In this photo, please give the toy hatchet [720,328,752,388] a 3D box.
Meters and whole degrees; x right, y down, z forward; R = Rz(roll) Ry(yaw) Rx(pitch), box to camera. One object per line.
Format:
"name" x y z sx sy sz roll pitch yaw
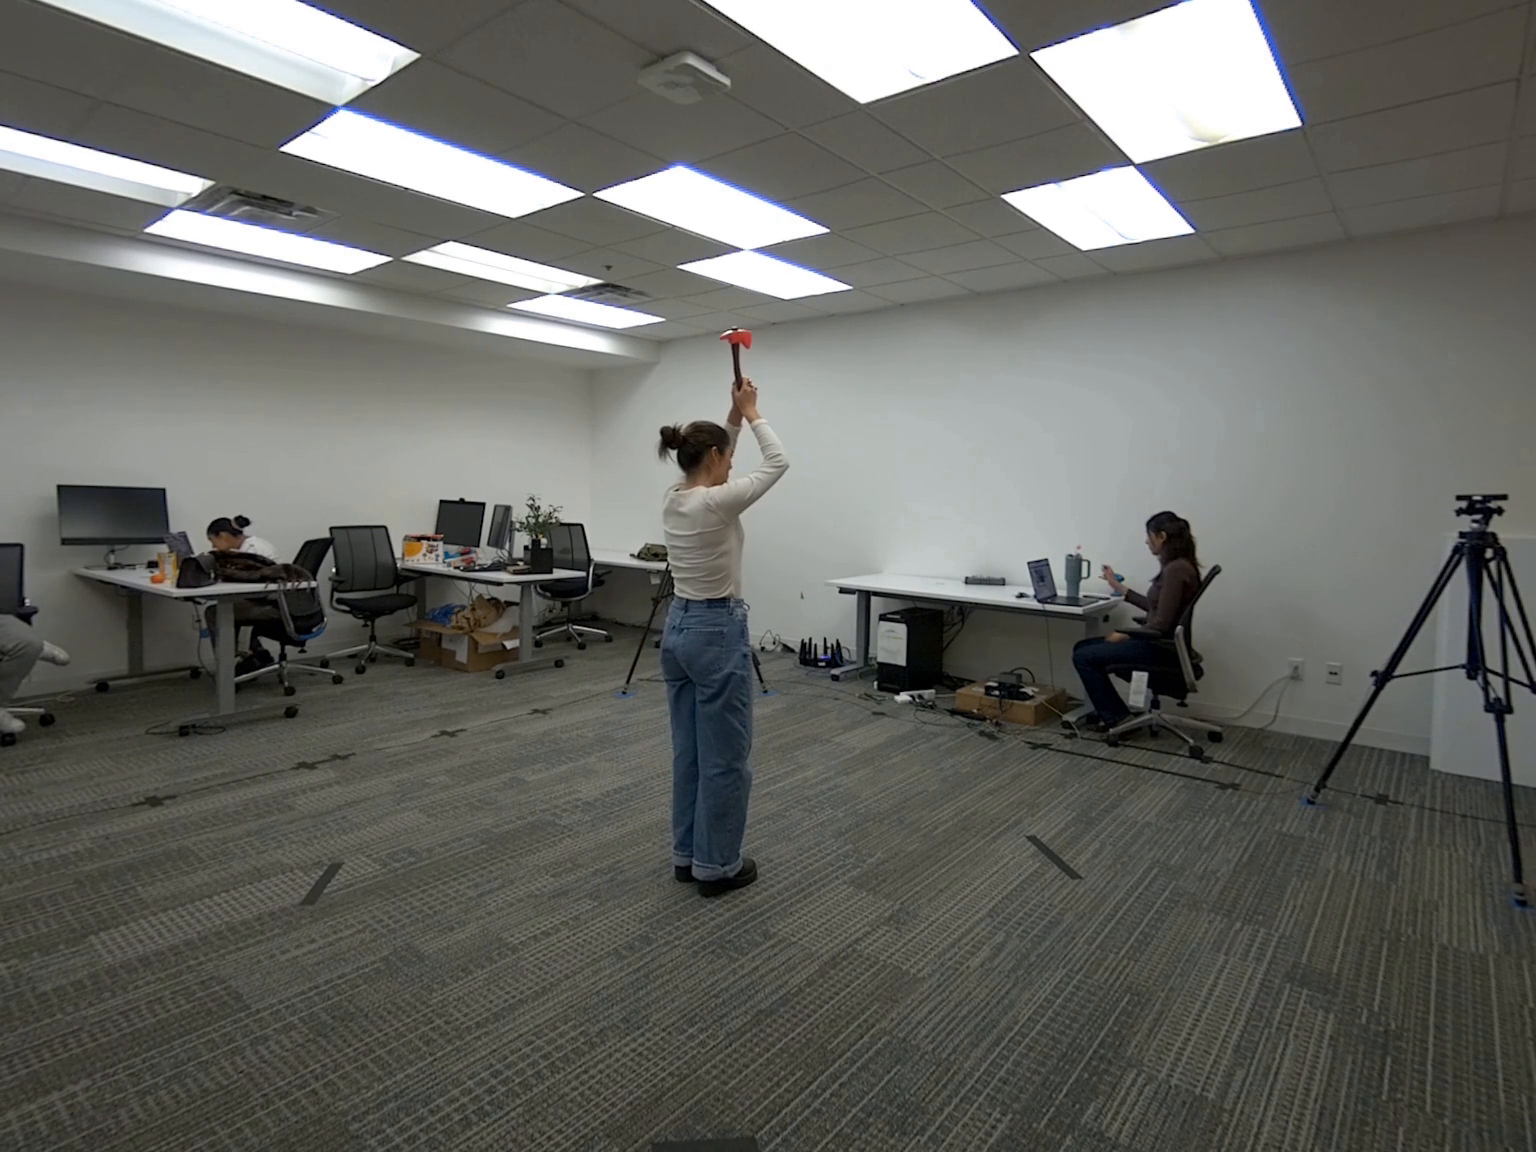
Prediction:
"toy hatchet" -0.078 -0.751 3.026 0.130 0.261 0.031 -34 31 -22
